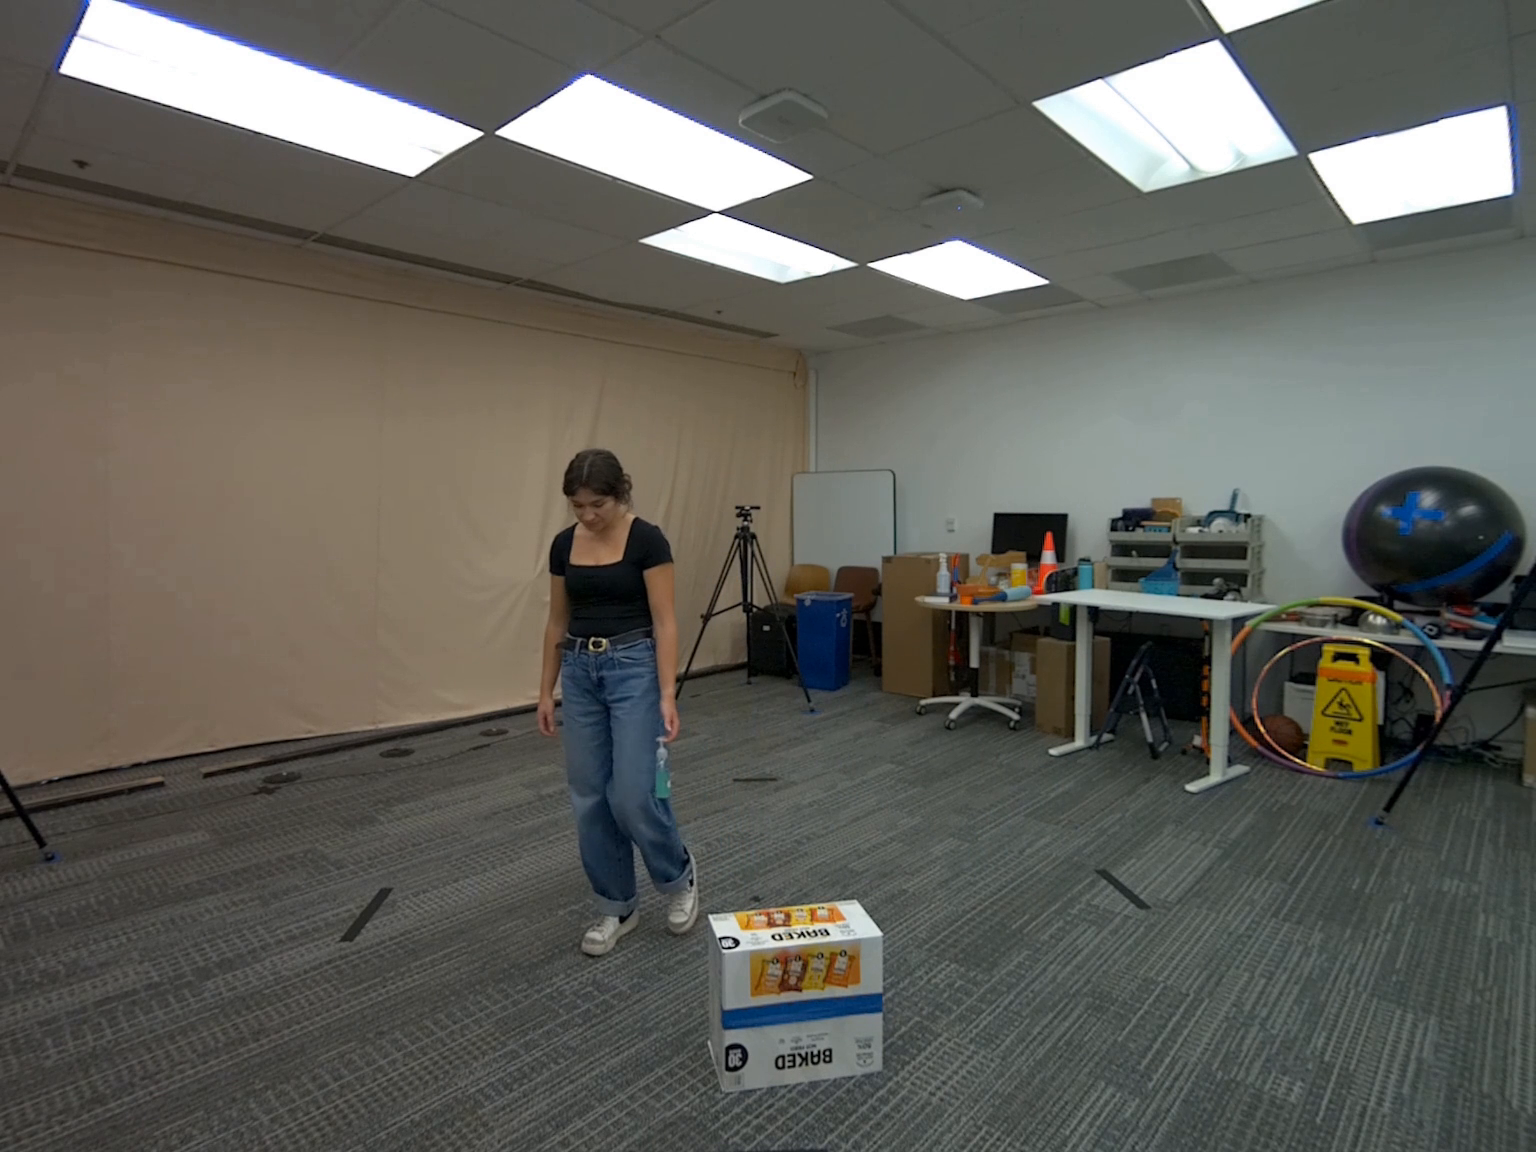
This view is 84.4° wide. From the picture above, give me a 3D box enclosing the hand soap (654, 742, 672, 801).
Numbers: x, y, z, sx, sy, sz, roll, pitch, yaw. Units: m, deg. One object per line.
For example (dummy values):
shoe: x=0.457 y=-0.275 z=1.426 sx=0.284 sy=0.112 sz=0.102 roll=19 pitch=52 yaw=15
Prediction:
hand soap: x=-0.303 y=0.549 z=2.448 sx=0.043 sy=0.168 sz=0.085 roll=2 pitch=0 yaw=-6
